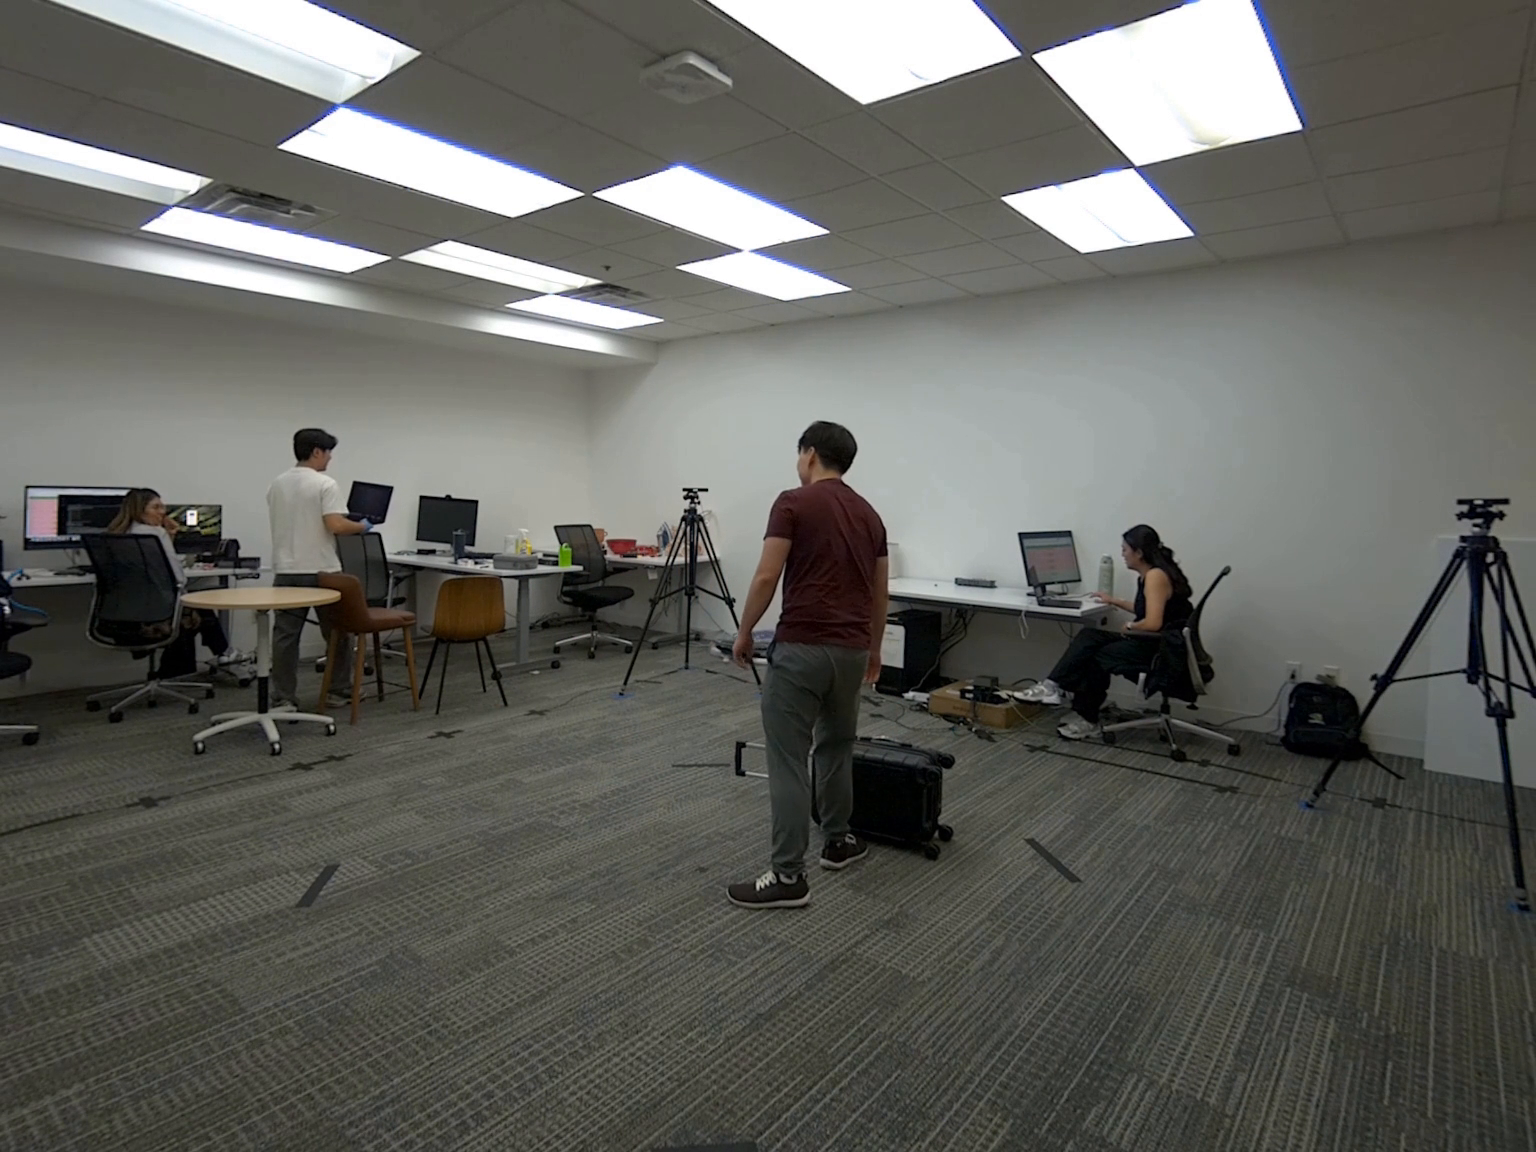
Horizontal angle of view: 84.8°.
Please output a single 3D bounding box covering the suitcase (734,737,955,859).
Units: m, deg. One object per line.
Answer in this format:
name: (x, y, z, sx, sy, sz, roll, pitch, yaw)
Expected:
suitcase: (0.255, 0.847, 3.553, 1.005, 0.383, 0.251, 4, 2, 26)
